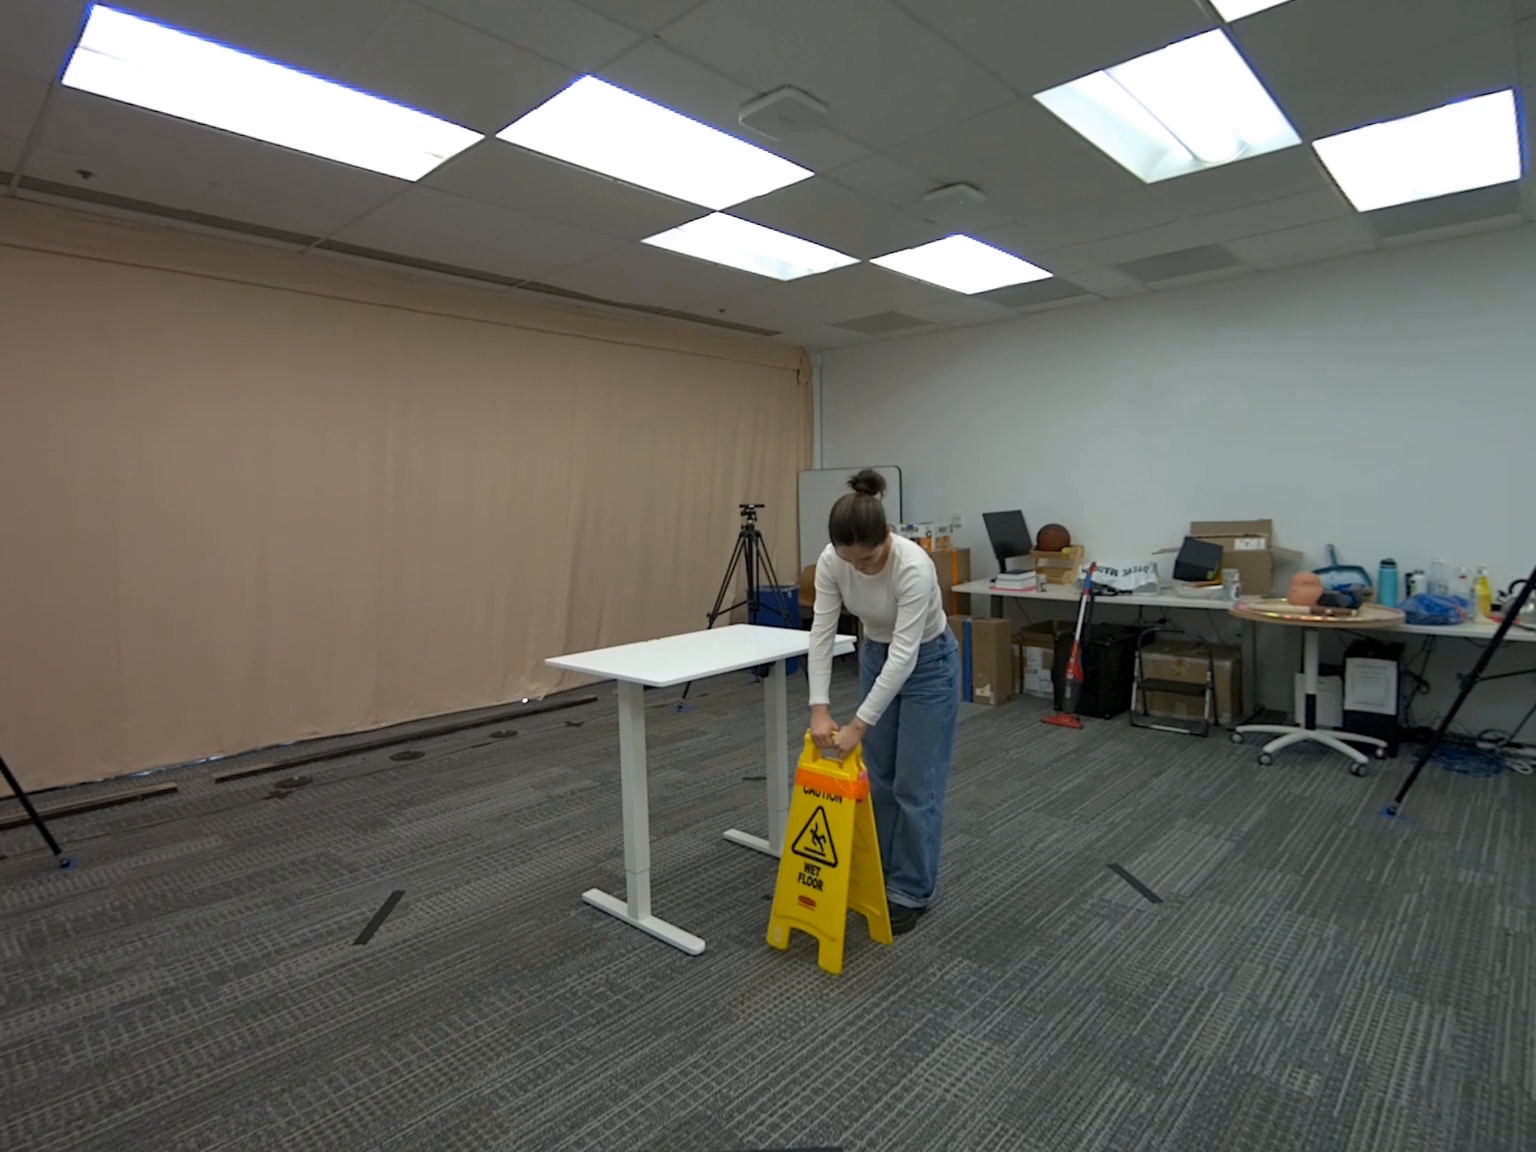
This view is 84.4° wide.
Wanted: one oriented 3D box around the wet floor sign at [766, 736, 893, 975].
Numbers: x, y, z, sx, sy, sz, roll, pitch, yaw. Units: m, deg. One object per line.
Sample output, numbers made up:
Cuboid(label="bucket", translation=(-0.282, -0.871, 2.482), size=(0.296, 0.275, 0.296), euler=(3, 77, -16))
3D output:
Cuboid(label="wet floor sign", translation=(0.203, 0.806, 2.588), size=(0.291, 0.646, 0.280), euler=(1, -1, 43))
